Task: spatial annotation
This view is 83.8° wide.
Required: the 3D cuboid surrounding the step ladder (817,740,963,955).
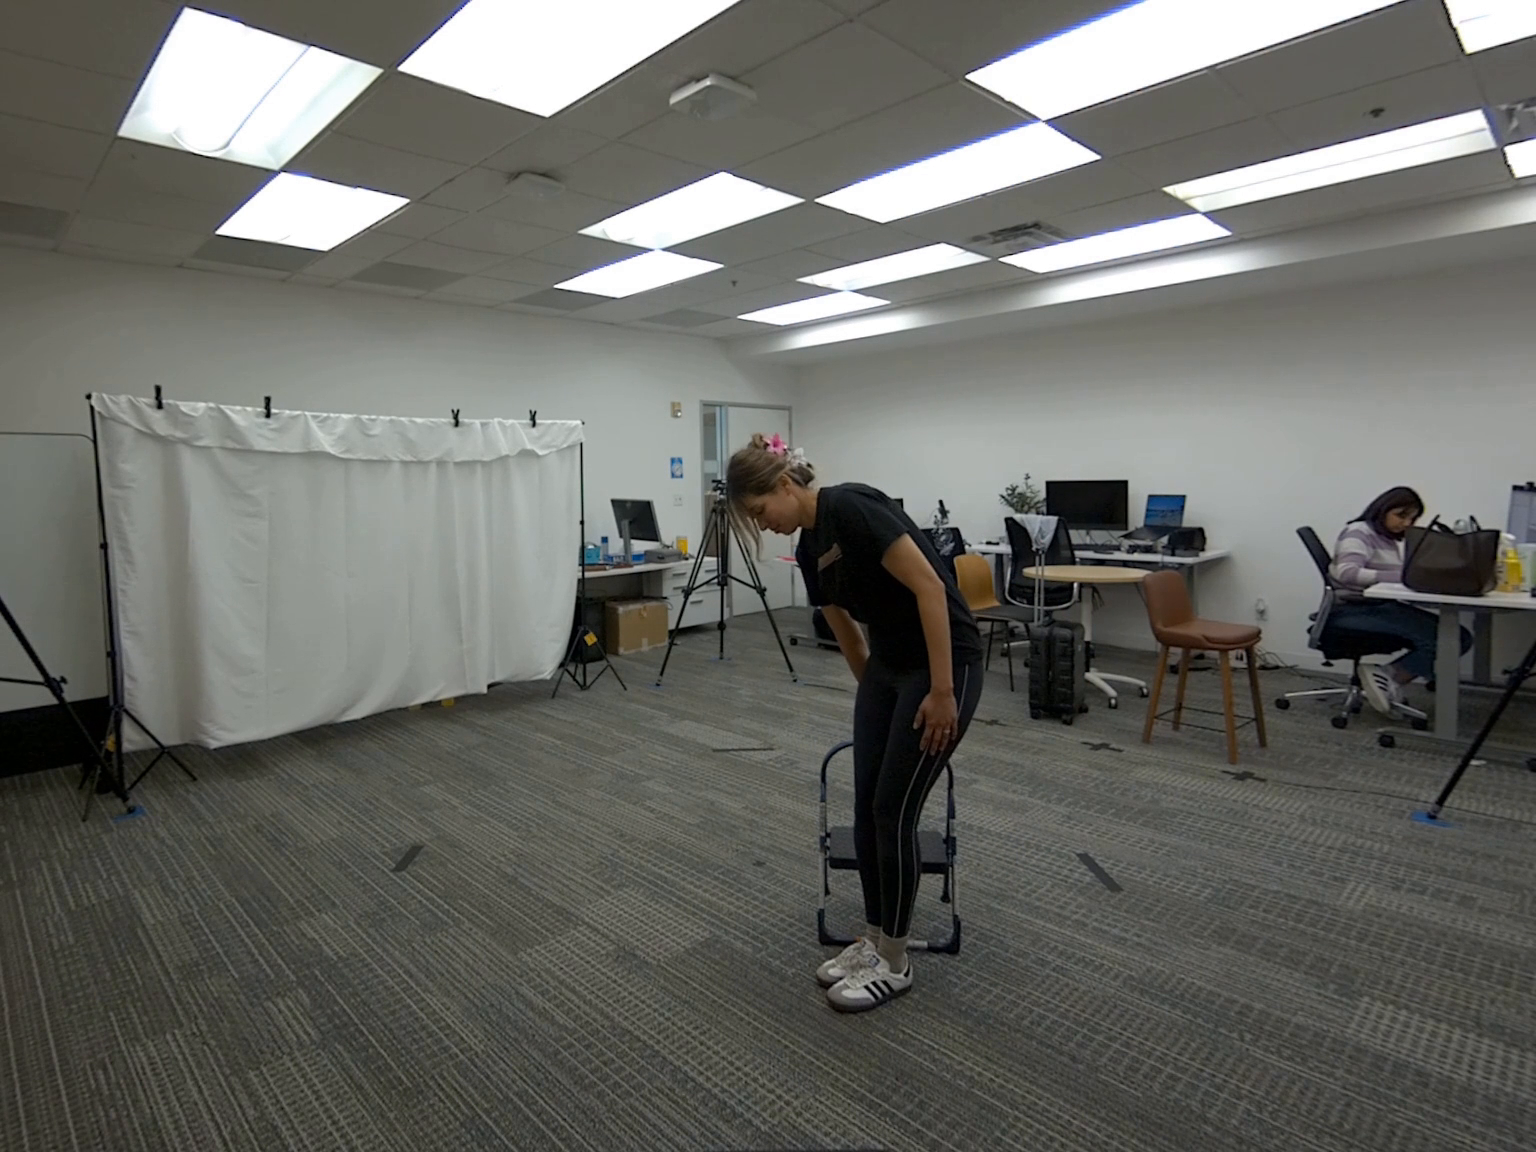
[{"bbox_3d":[0.374,0.792,2.678,0.434,0.604,0.348,0,4,7],"label":"step ladder"}]
